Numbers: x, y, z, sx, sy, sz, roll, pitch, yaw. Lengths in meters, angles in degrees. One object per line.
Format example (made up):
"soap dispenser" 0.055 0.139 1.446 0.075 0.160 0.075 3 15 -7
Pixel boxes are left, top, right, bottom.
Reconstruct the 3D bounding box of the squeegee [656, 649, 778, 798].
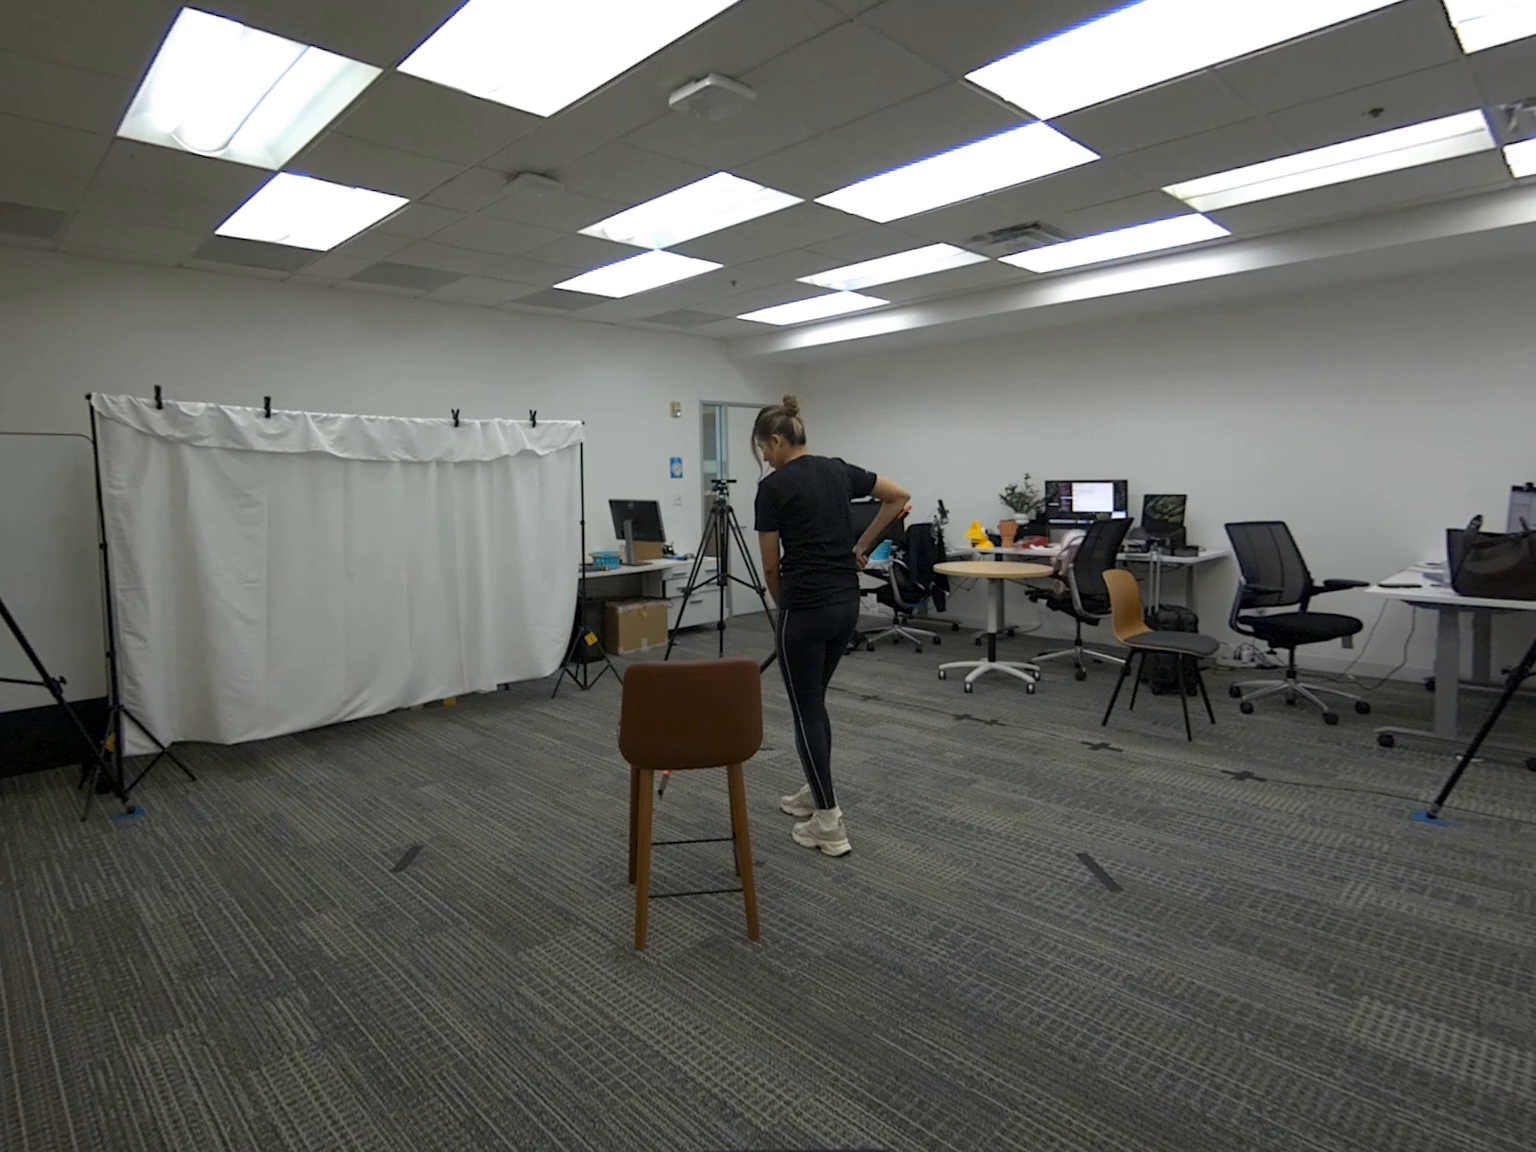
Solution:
"squeegee" 0.054 0.299 3.546 0.053 1.537 0.439 43 7 -5
